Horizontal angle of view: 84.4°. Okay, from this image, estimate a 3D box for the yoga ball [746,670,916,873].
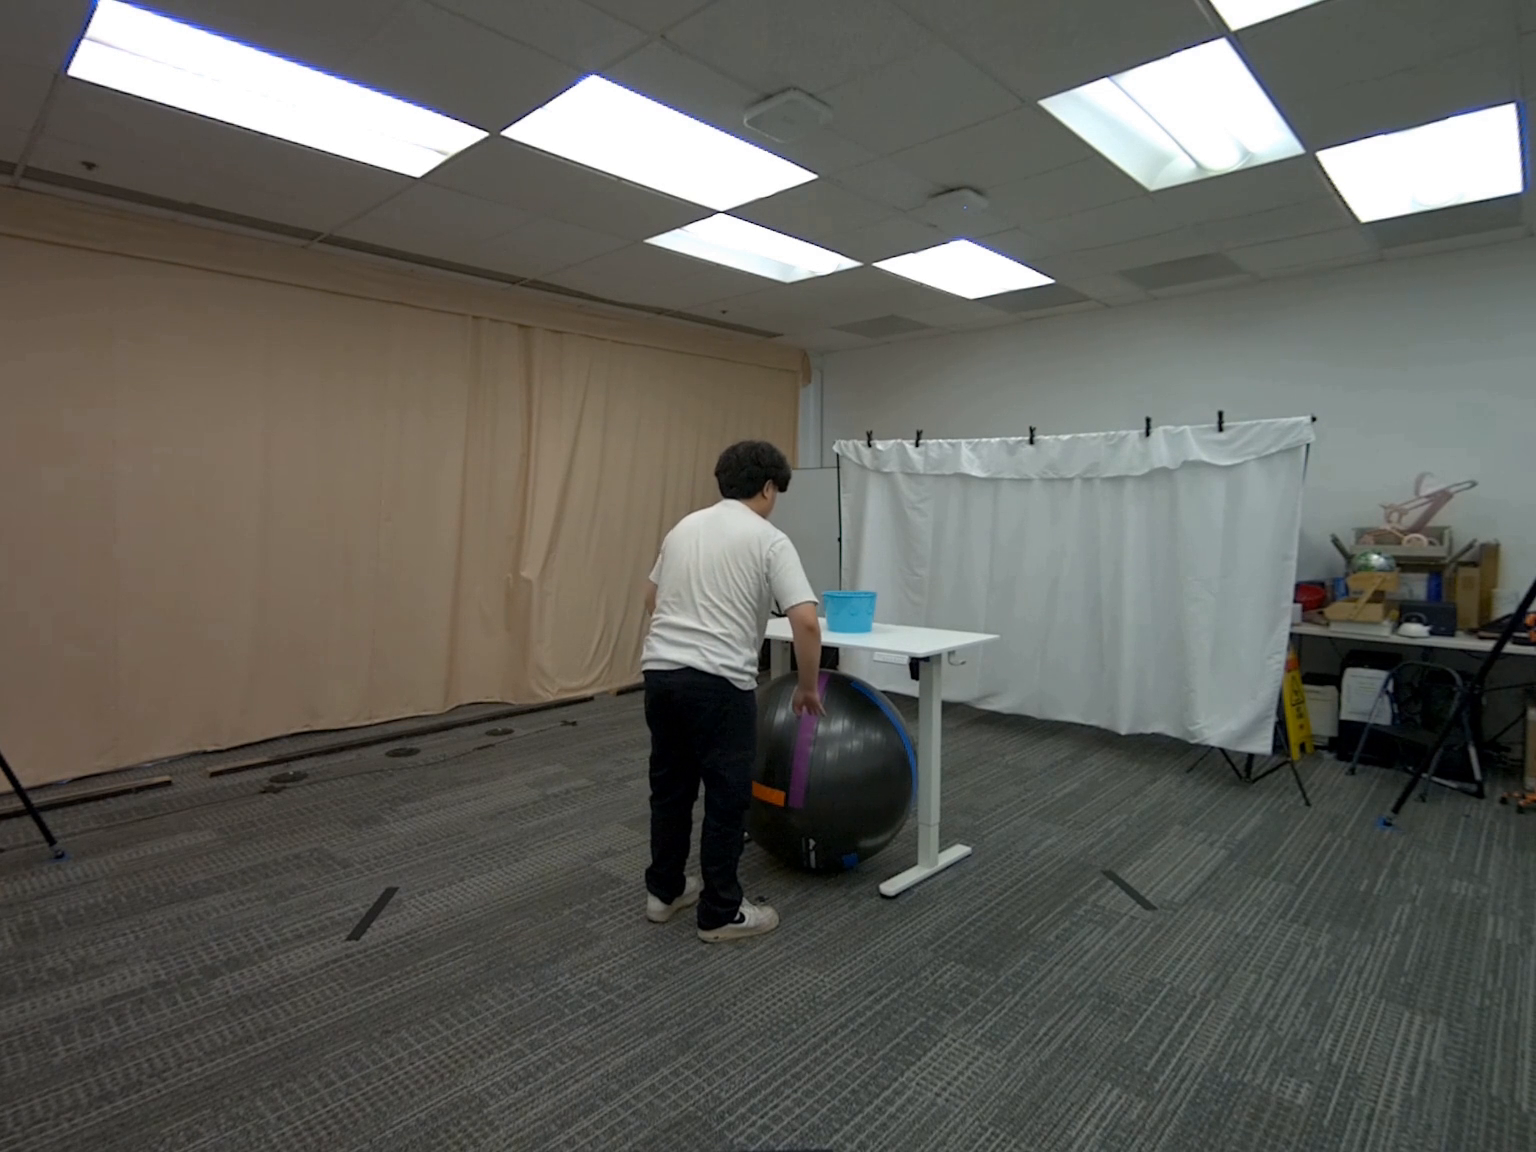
[{"bbox_3d":[0.197,0.755,3.291,0.757,0.756,0.760,0,4,-2],"label":"yoga ball"}]
